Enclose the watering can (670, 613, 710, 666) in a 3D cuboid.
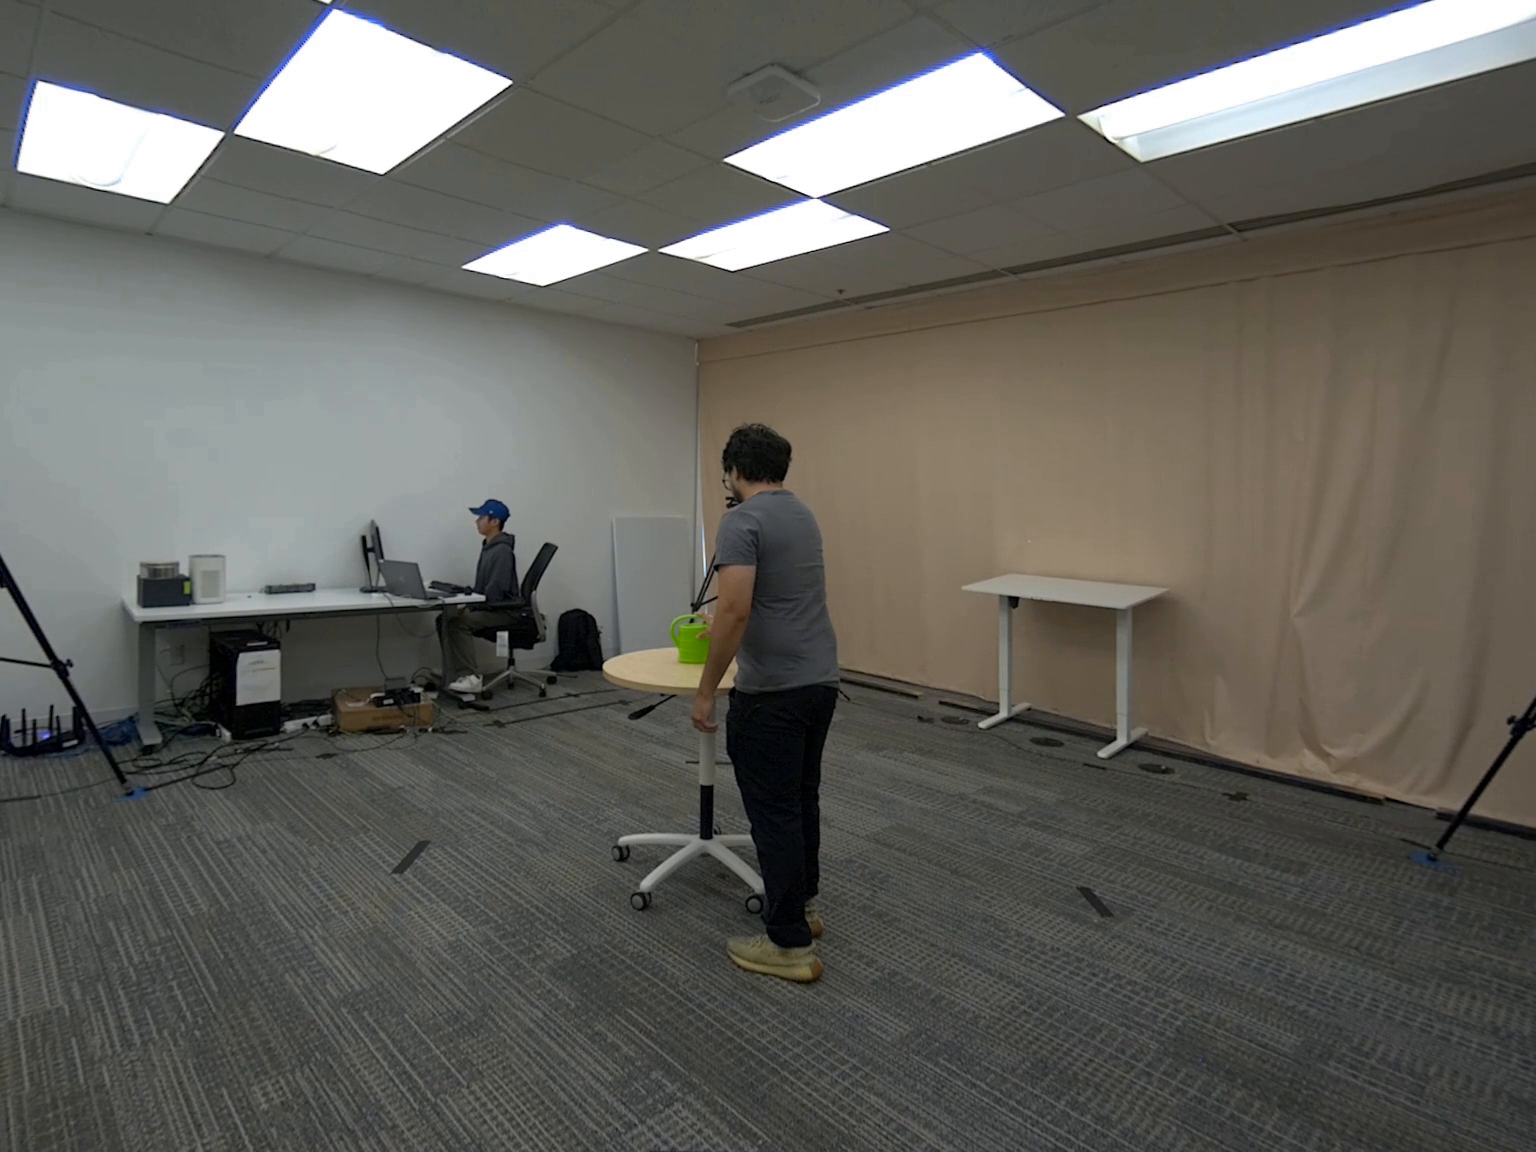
[{"bbox_3d":[-0.234,0.238,3.124,0.279,0.176,0.098,-1,2,3],"label":"watering can"}]
